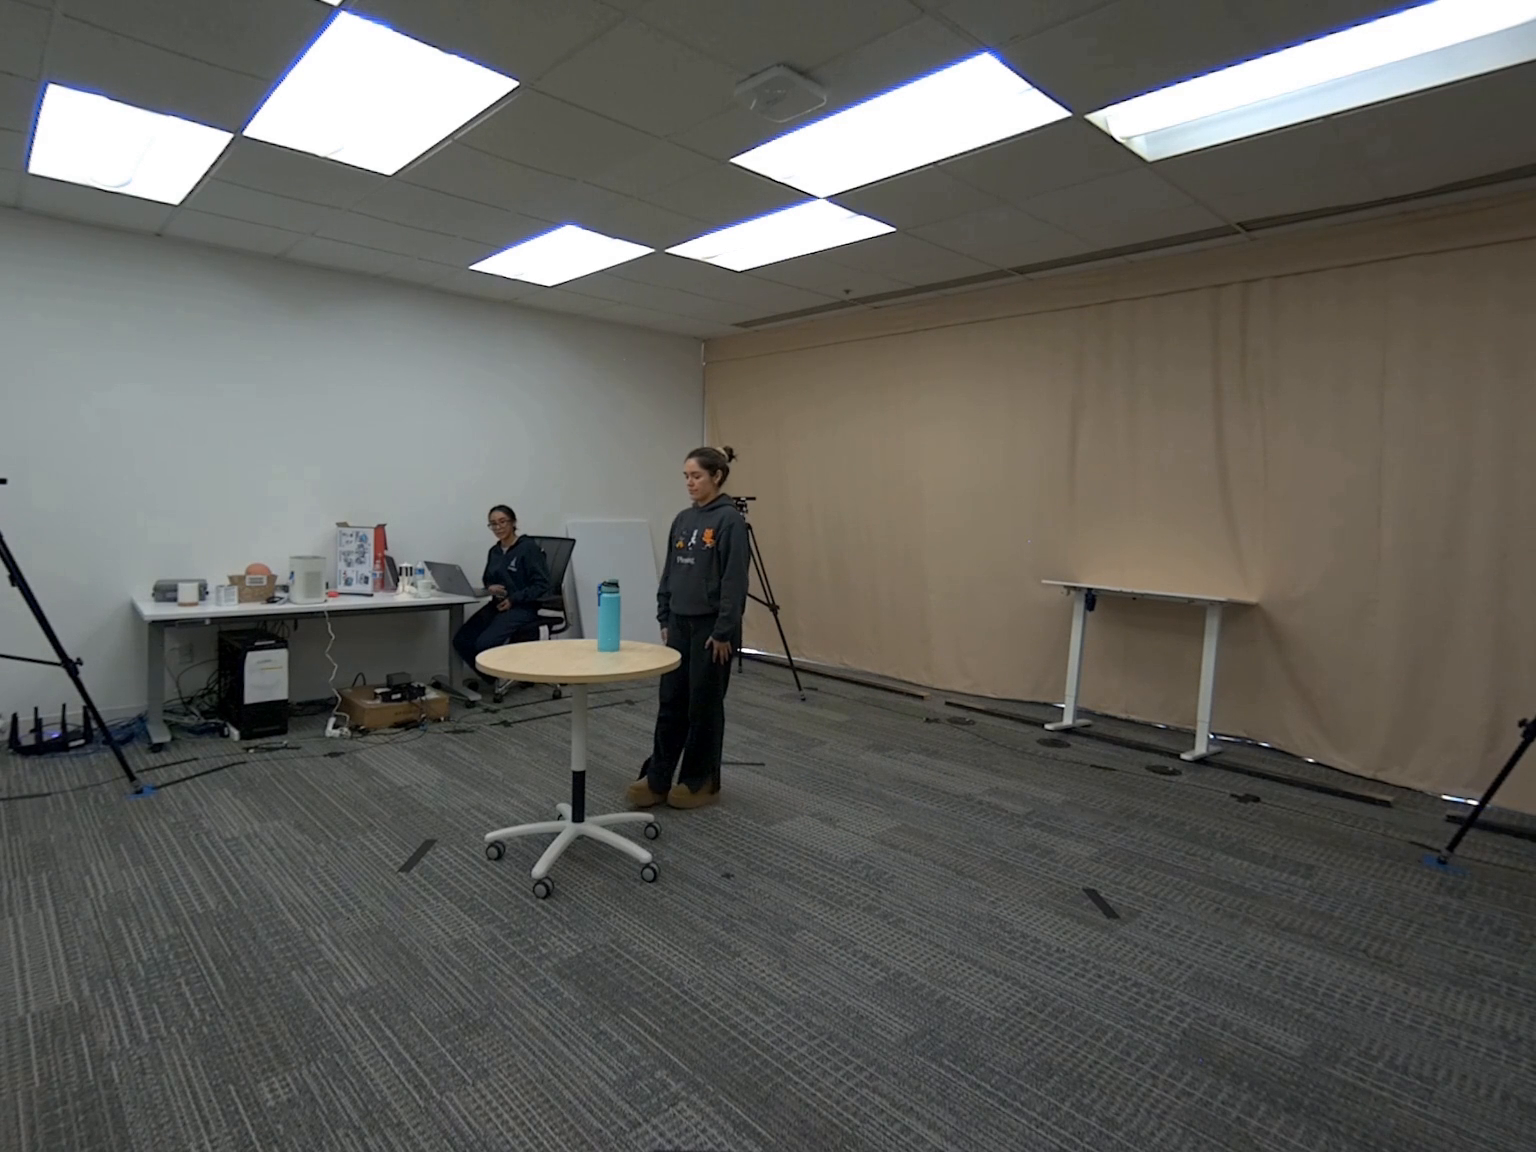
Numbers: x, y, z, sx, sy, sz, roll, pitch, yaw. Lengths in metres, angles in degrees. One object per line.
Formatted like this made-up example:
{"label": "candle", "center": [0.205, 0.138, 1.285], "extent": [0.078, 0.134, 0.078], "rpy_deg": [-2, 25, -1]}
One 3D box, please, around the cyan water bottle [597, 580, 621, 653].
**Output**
{"label": "cyan water bottle", "center": [-0.647, 0.152, 3.331], "extent": [0.092, 0.283, 0.092], "rpy_deg": [2, 2, -1]}
